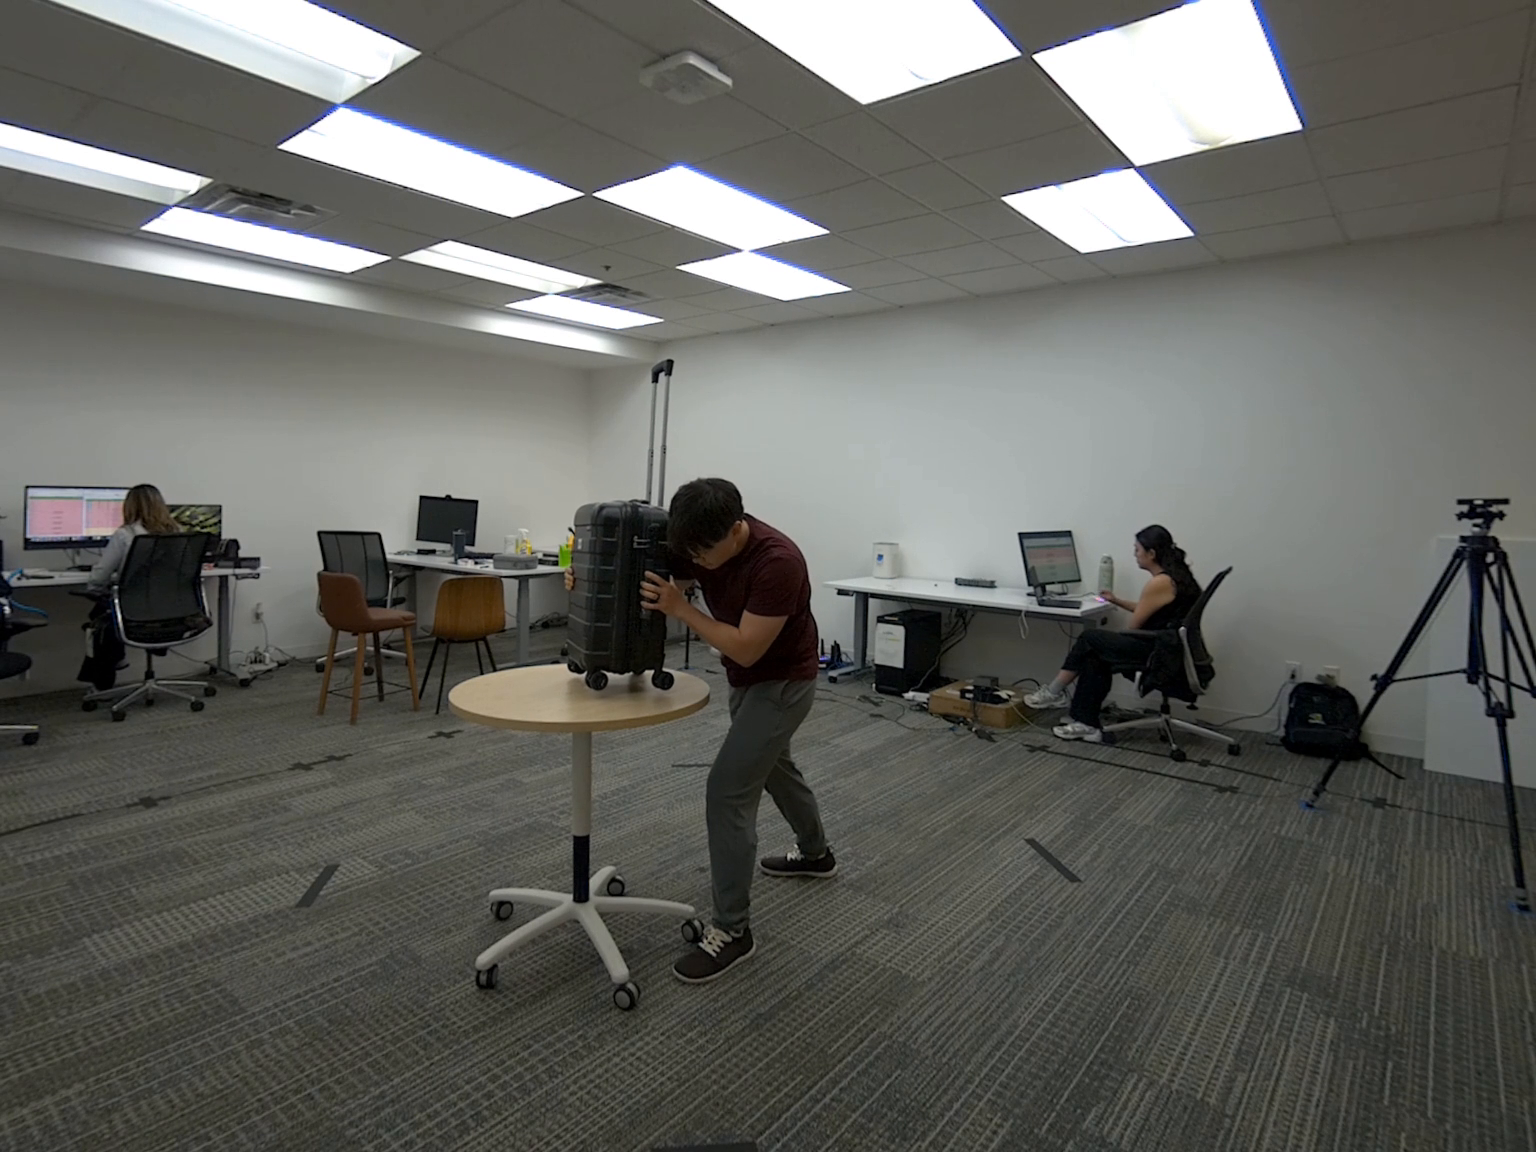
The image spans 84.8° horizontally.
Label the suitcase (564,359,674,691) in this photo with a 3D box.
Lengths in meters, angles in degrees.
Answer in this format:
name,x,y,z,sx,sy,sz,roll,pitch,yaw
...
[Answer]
name,x,y,z,sx,sy,sz,roll,pitch,yaw
suitcase,-0.460,-0.163,2.579,0.252,0.979,0.392,2,-1,-21
